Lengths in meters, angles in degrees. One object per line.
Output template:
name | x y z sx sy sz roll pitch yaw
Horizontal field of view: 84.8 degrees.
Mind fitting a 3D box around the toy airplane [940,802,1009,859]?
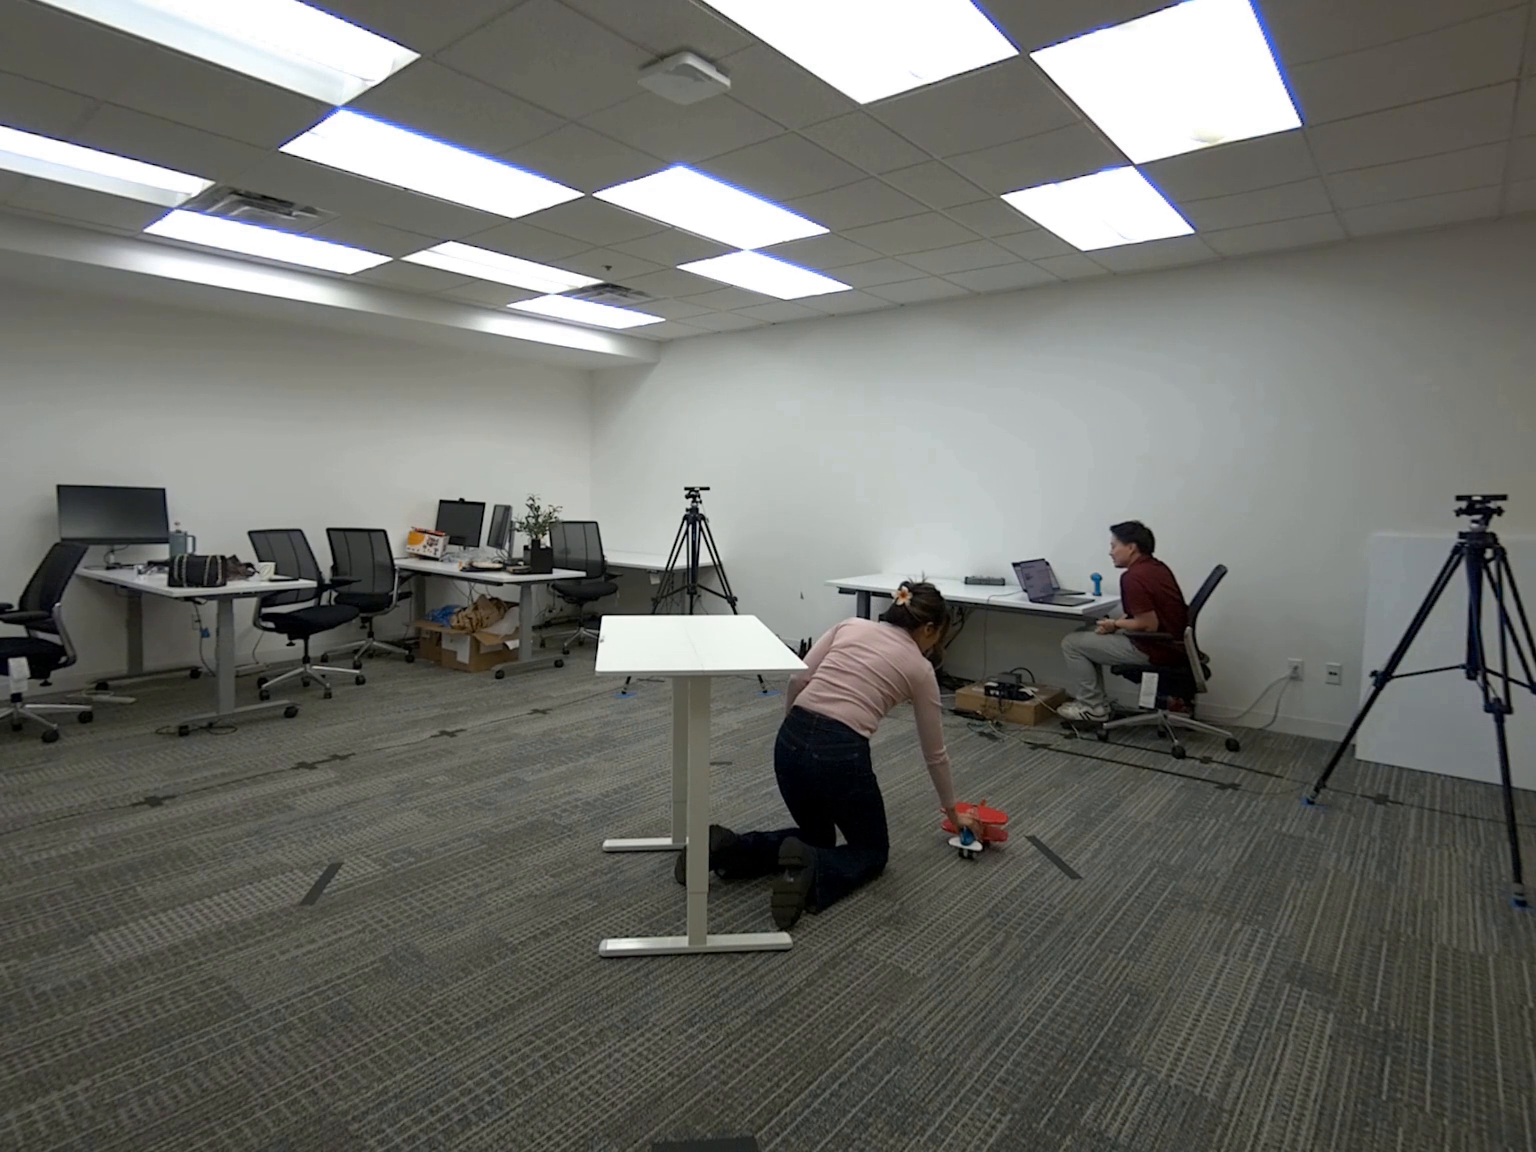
toy airplane | 0.809 0.994 3.324 0.251 0.156 0.260 4 4 0
